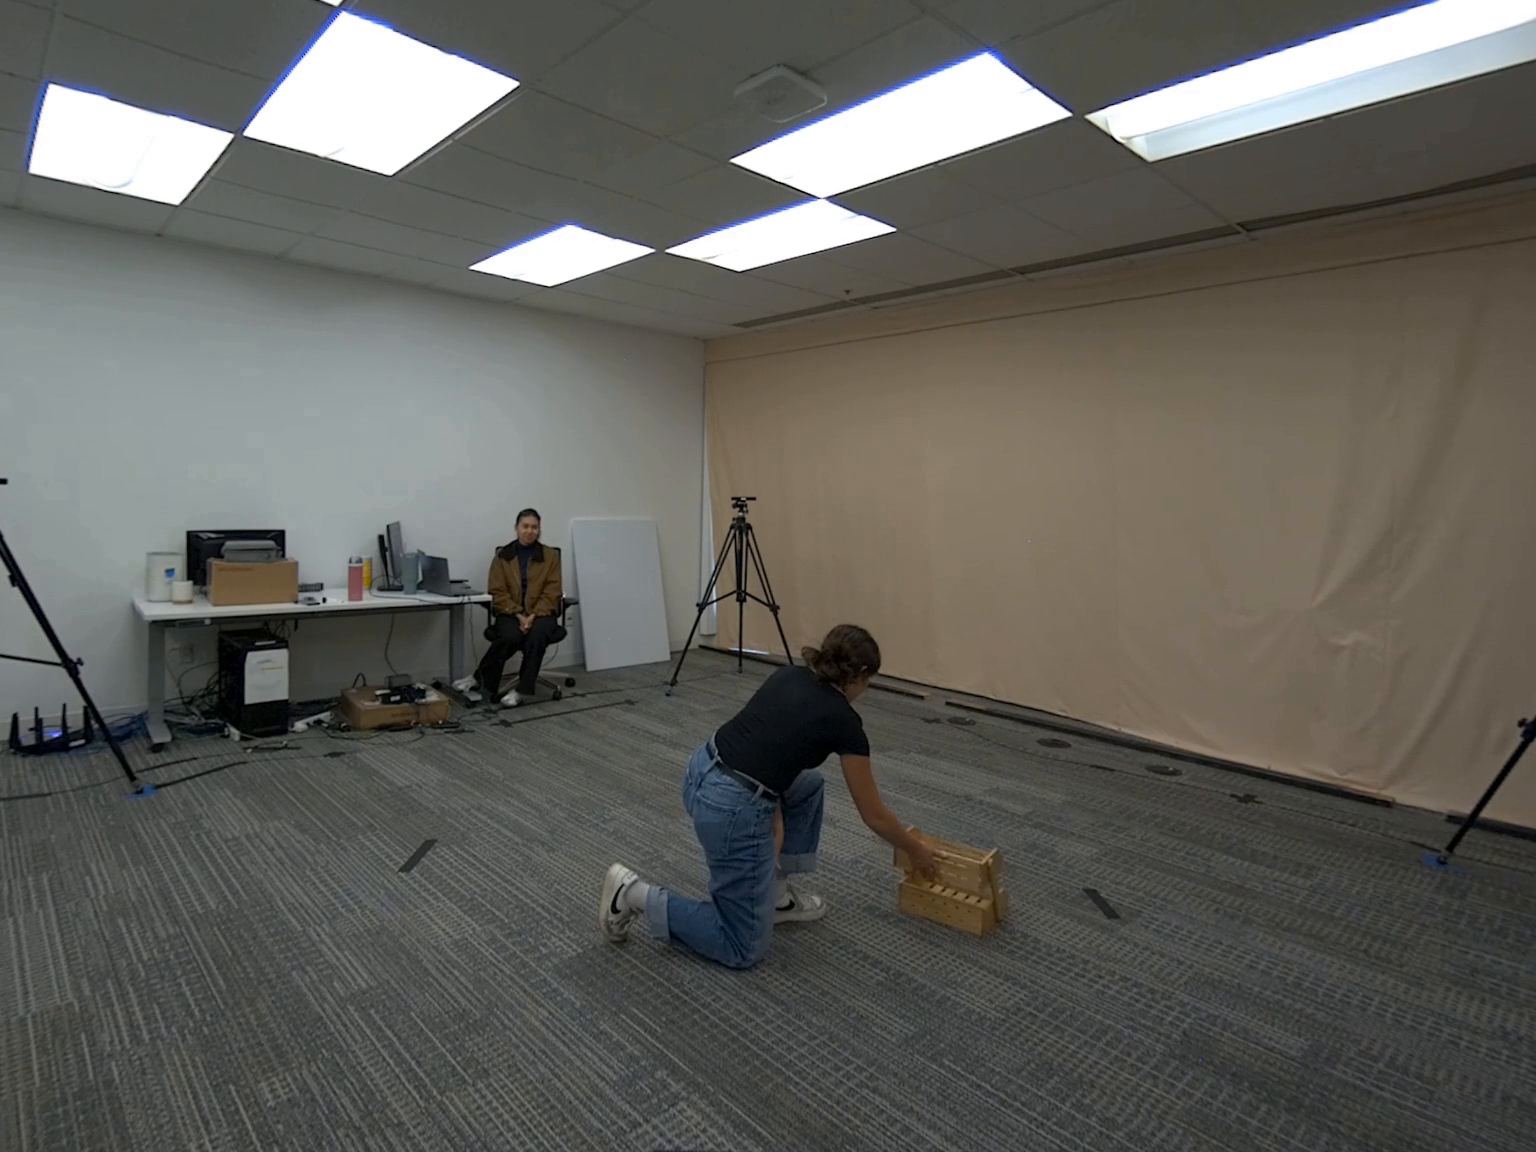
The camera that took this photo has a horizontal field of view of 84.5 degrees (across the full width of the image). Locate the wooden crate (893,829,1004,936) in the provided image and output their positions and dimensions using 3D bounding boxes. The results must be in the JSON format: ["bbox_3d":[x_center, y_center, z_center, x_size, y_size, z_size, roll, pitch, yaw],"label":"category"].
[{"bbox_3d":[0.623,1.012,2.870,0.332,0.272,0.296,4,5,34],"label":"wooden crate"}]
